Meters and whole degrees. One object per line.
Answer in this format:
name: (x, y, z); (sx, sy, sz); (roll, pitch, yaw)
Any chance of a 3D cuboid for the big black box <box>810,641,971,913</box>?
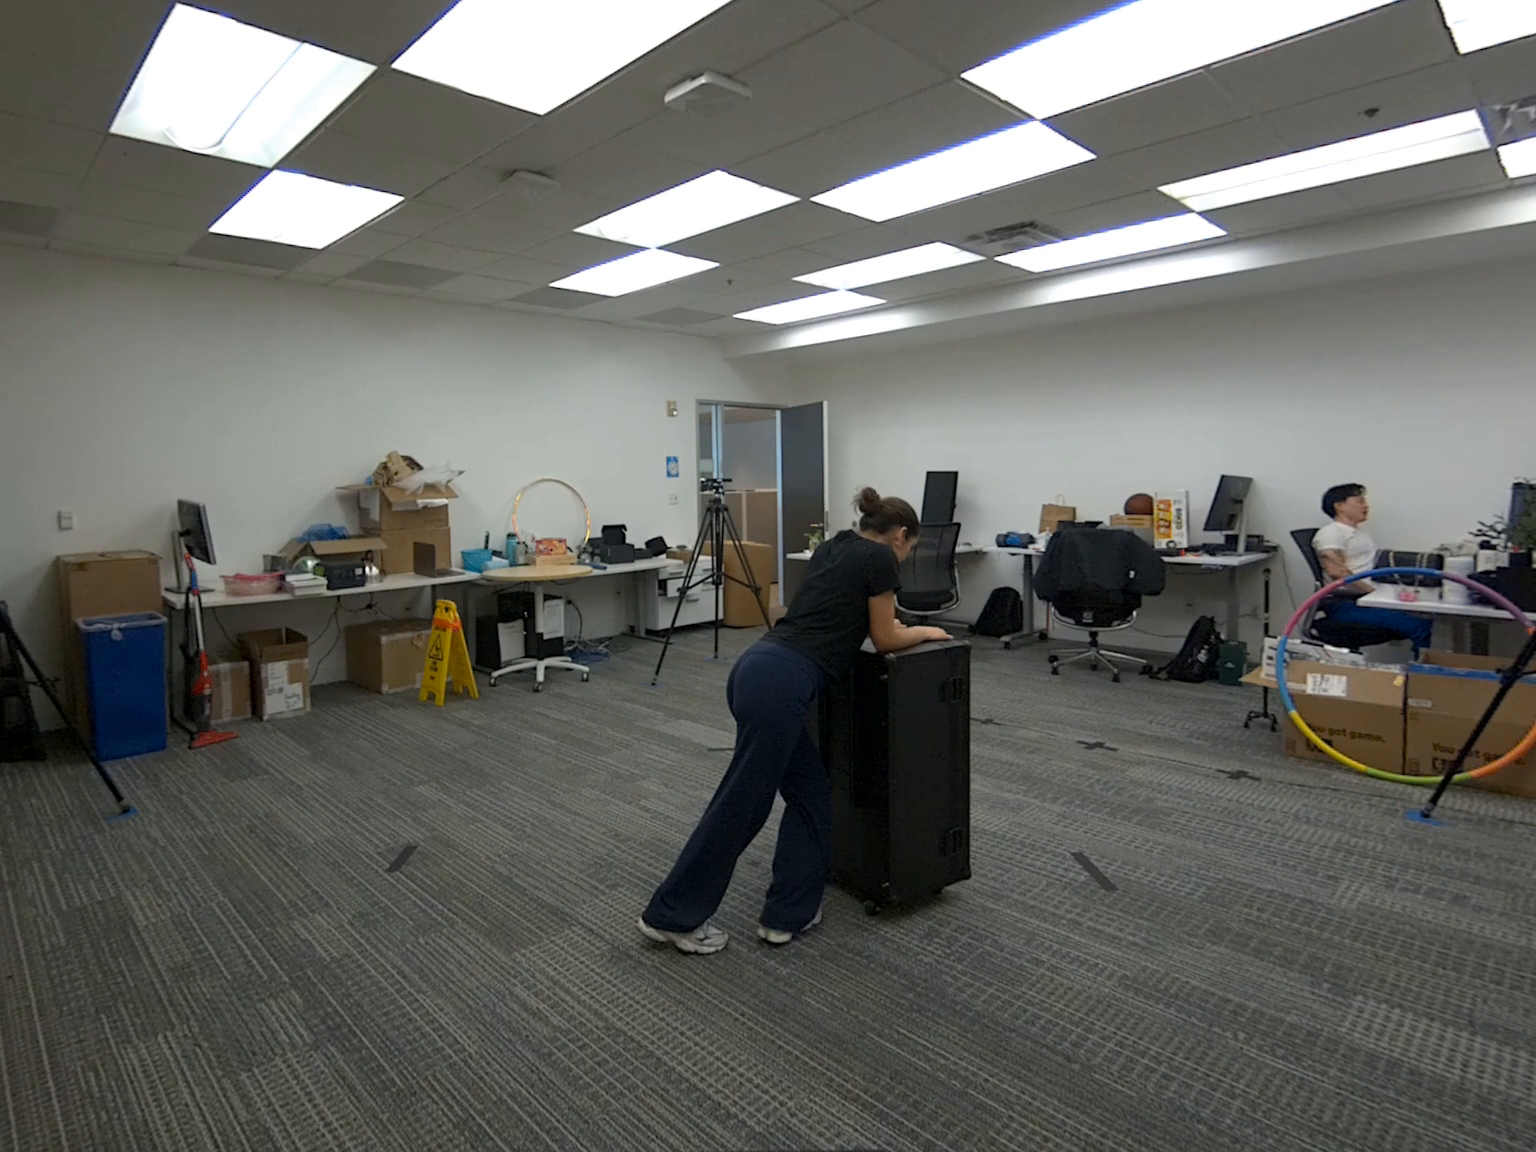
big black box: (0.377, 0.574, 2.918); (0.386, 0.858, 0.536); (-3, 5, -32)
